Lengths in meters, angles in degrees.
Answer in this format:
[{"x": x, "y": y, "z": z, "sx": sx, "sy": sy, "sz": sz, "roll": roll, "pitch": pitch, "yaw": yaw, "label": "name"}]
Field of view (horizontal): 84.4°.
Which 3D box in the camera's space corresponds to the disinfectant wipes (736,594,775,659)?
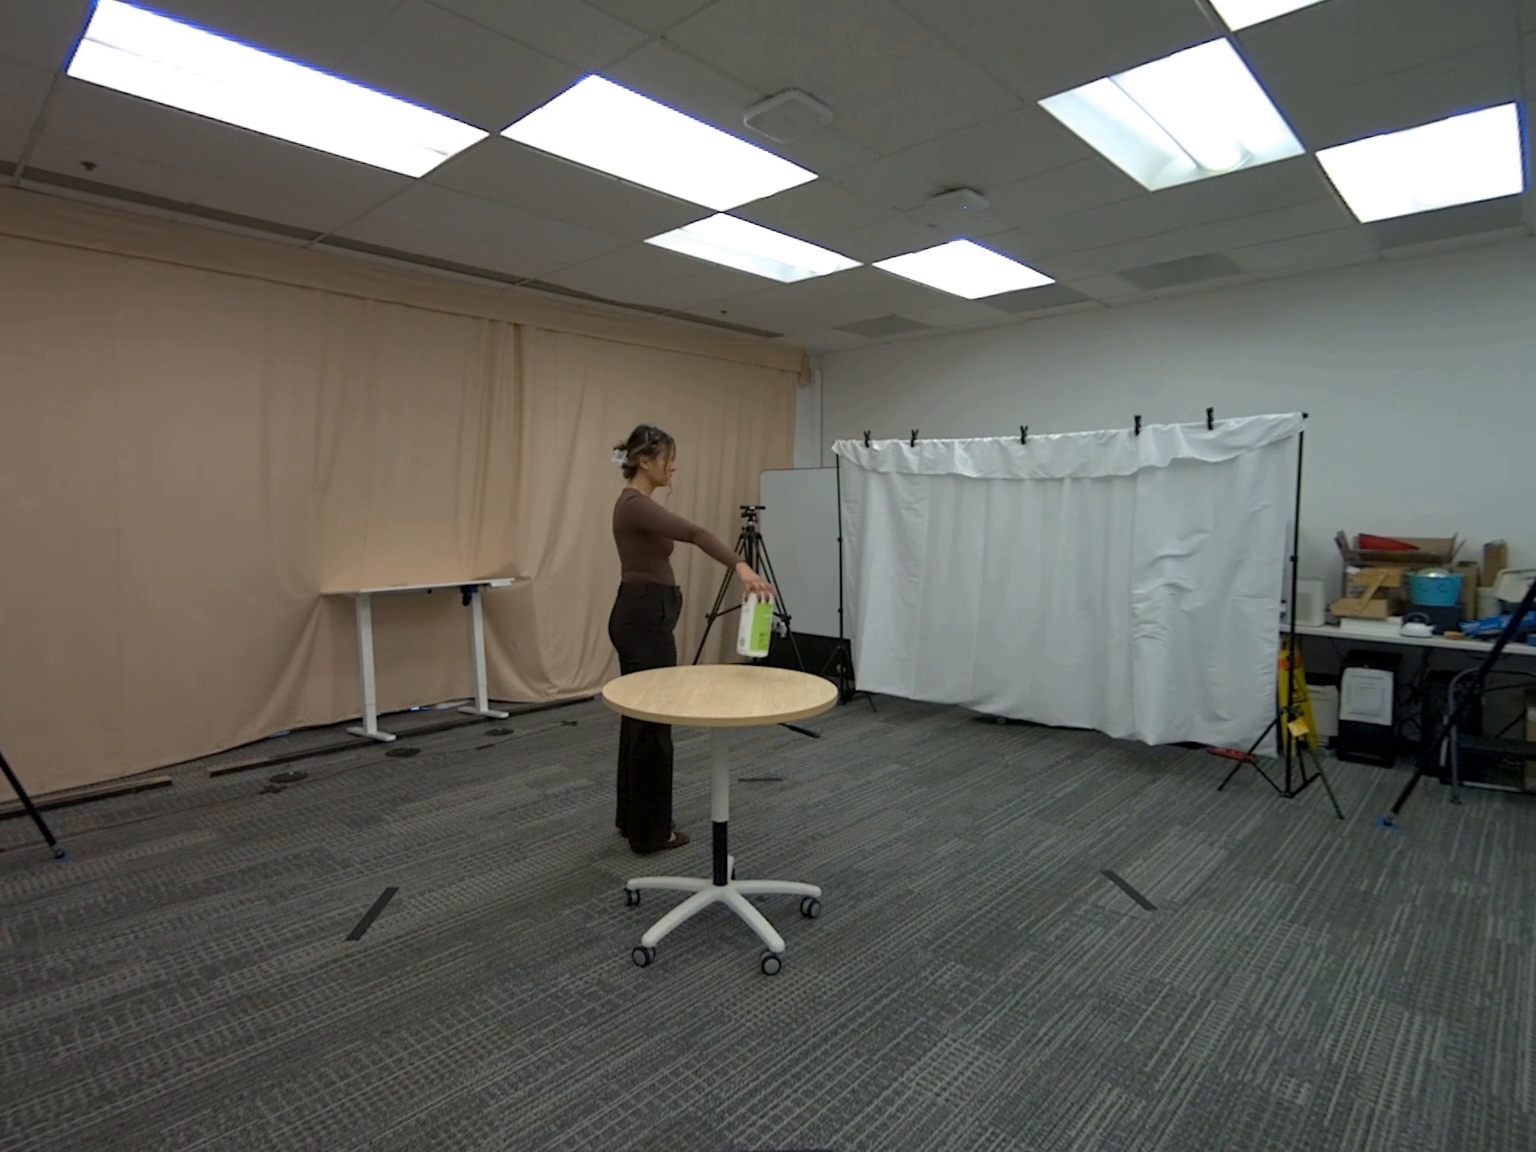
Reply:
[{"x": -0.032, "y": 0.153, "z": 2.911, "sx": 0.117, "sy": 0.217, "sz": 0.118, "roll": 6, "pitch": 3, "yaw": -2, "label": "disinfectant wipes"}]
